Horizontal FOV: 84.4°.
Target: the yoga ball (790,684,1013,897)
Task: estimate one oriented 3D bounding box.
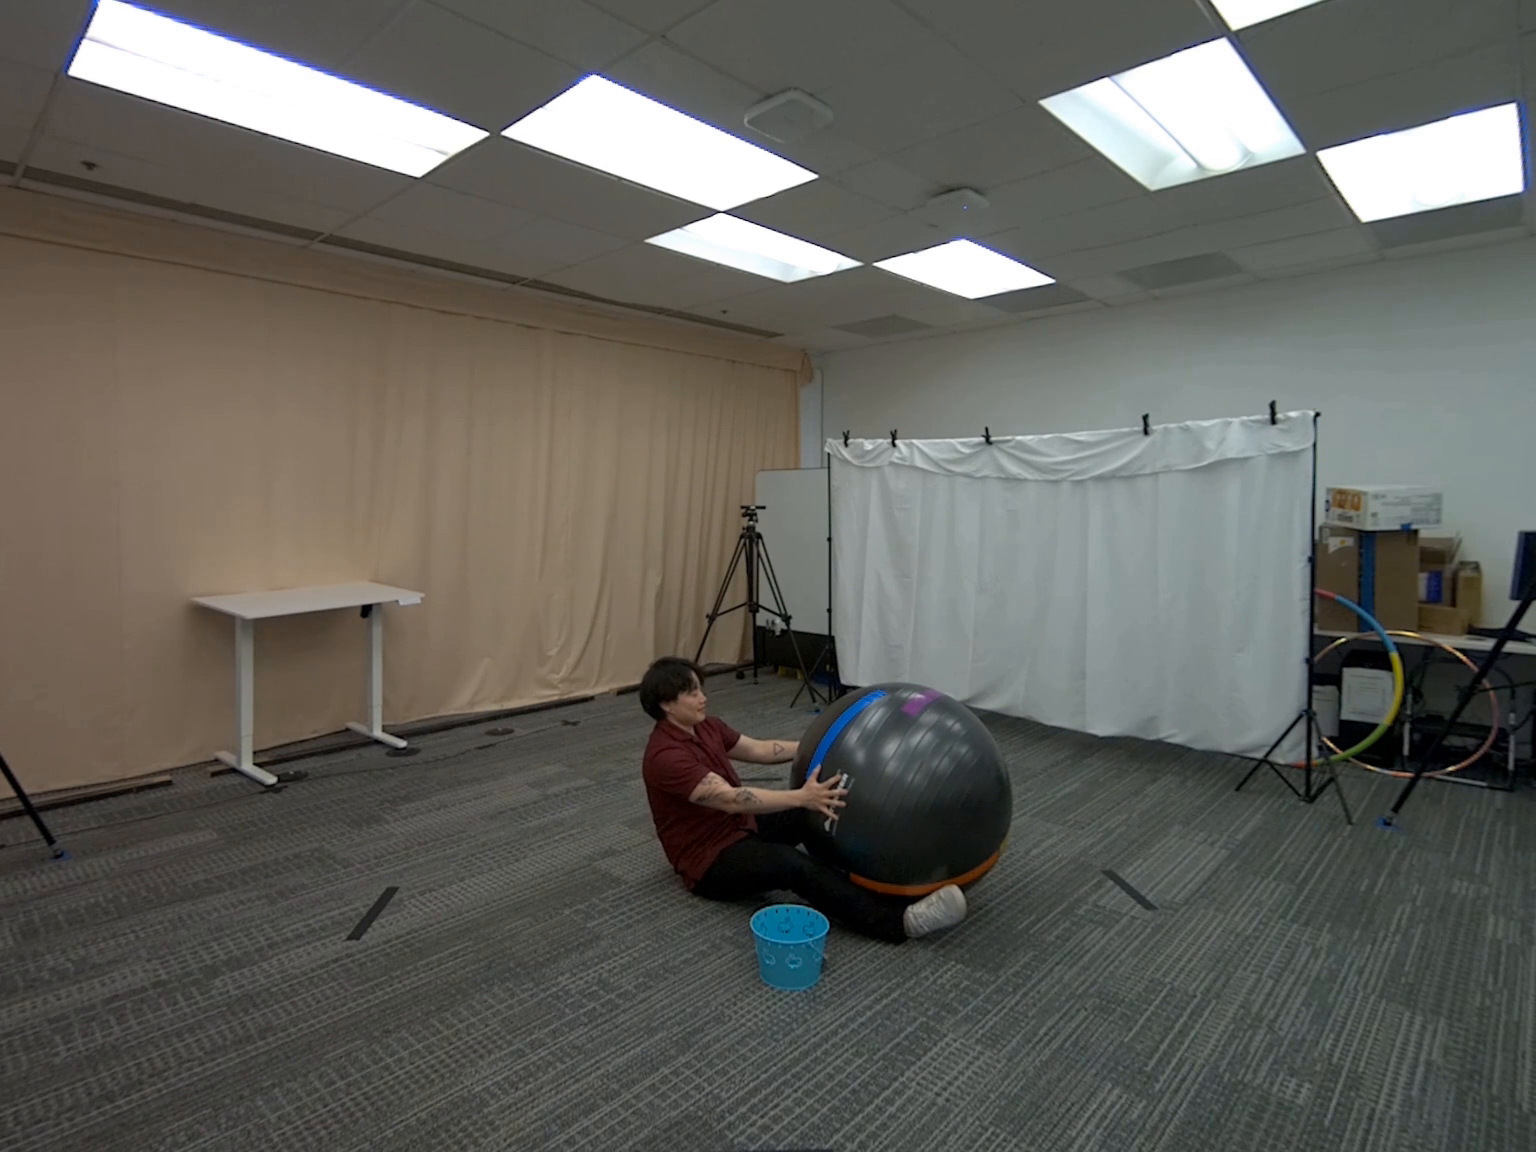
[{"bbox_3d":[0.467,0.765,2.968,0.757,0.756,0.760,0,4,-2],"label":"yoga ball"}]
